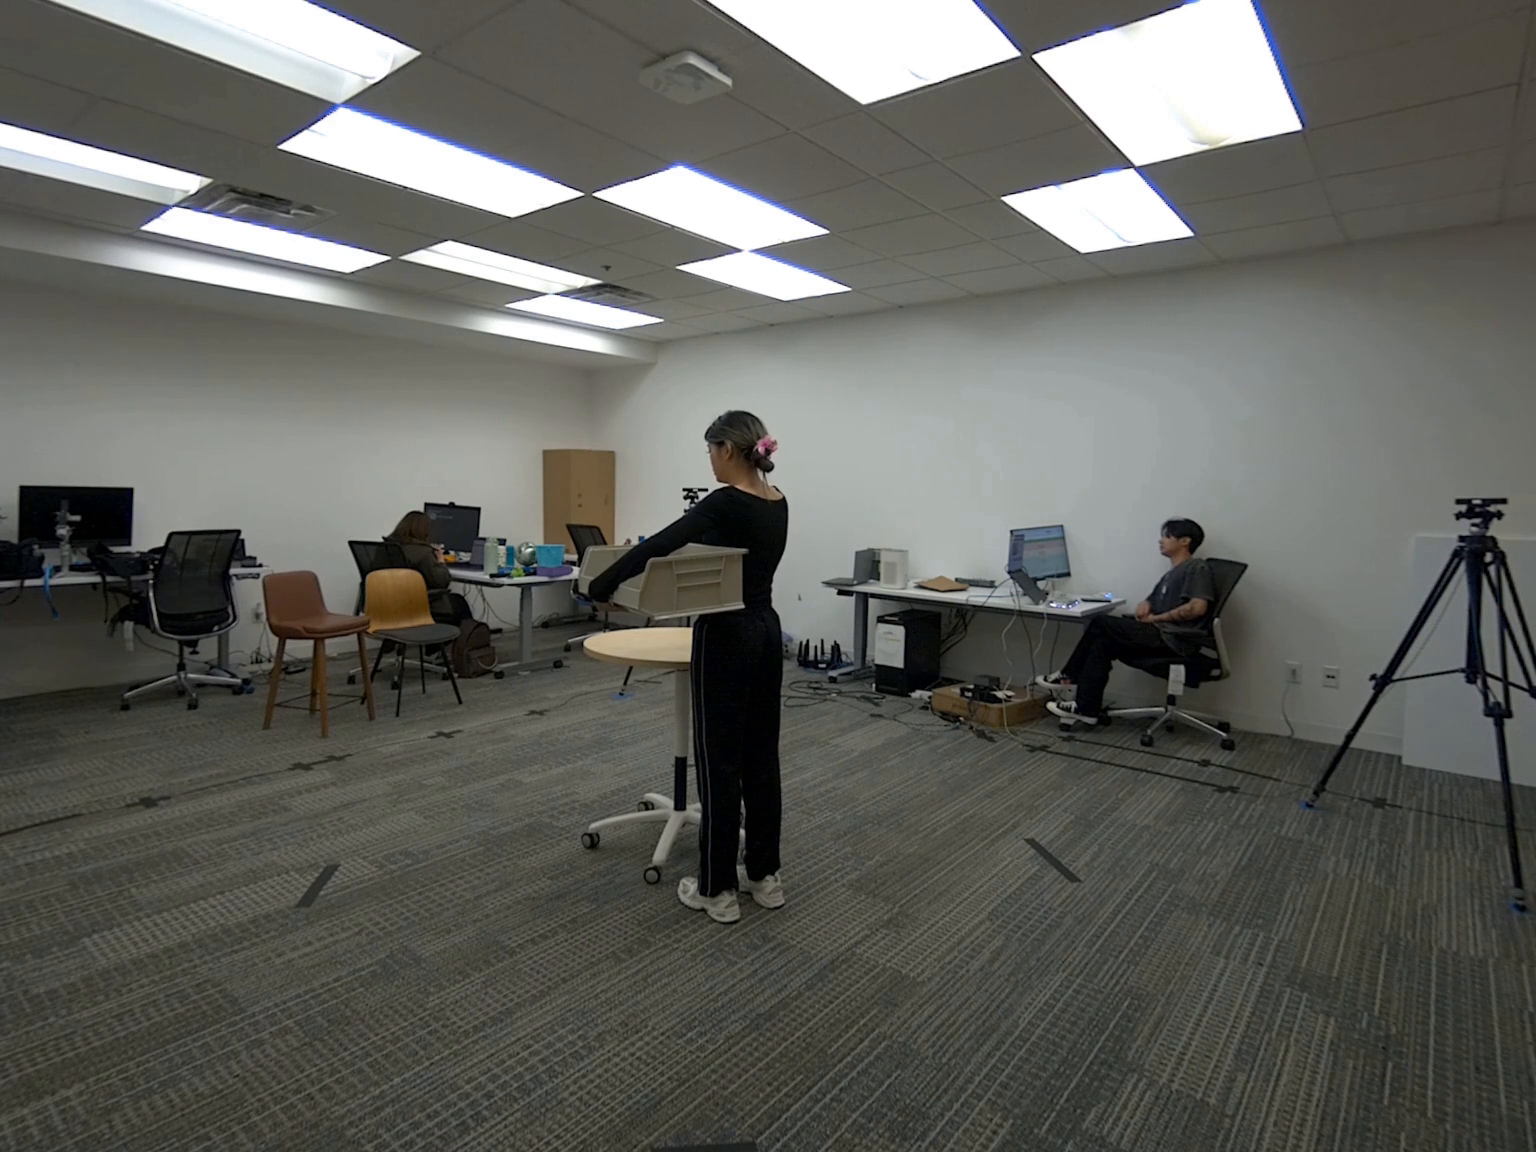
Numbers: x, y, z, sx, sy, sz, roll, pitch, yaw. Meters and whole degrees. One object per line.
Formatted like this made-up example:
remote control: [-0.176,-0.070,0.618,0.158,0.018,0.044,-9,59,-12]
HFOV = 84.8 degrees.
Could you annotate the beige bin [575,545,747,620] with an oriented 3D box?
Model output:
beige bin: [-0.348,0.008,2.642,0.367,0.188,0.436,-3,7,-34]
